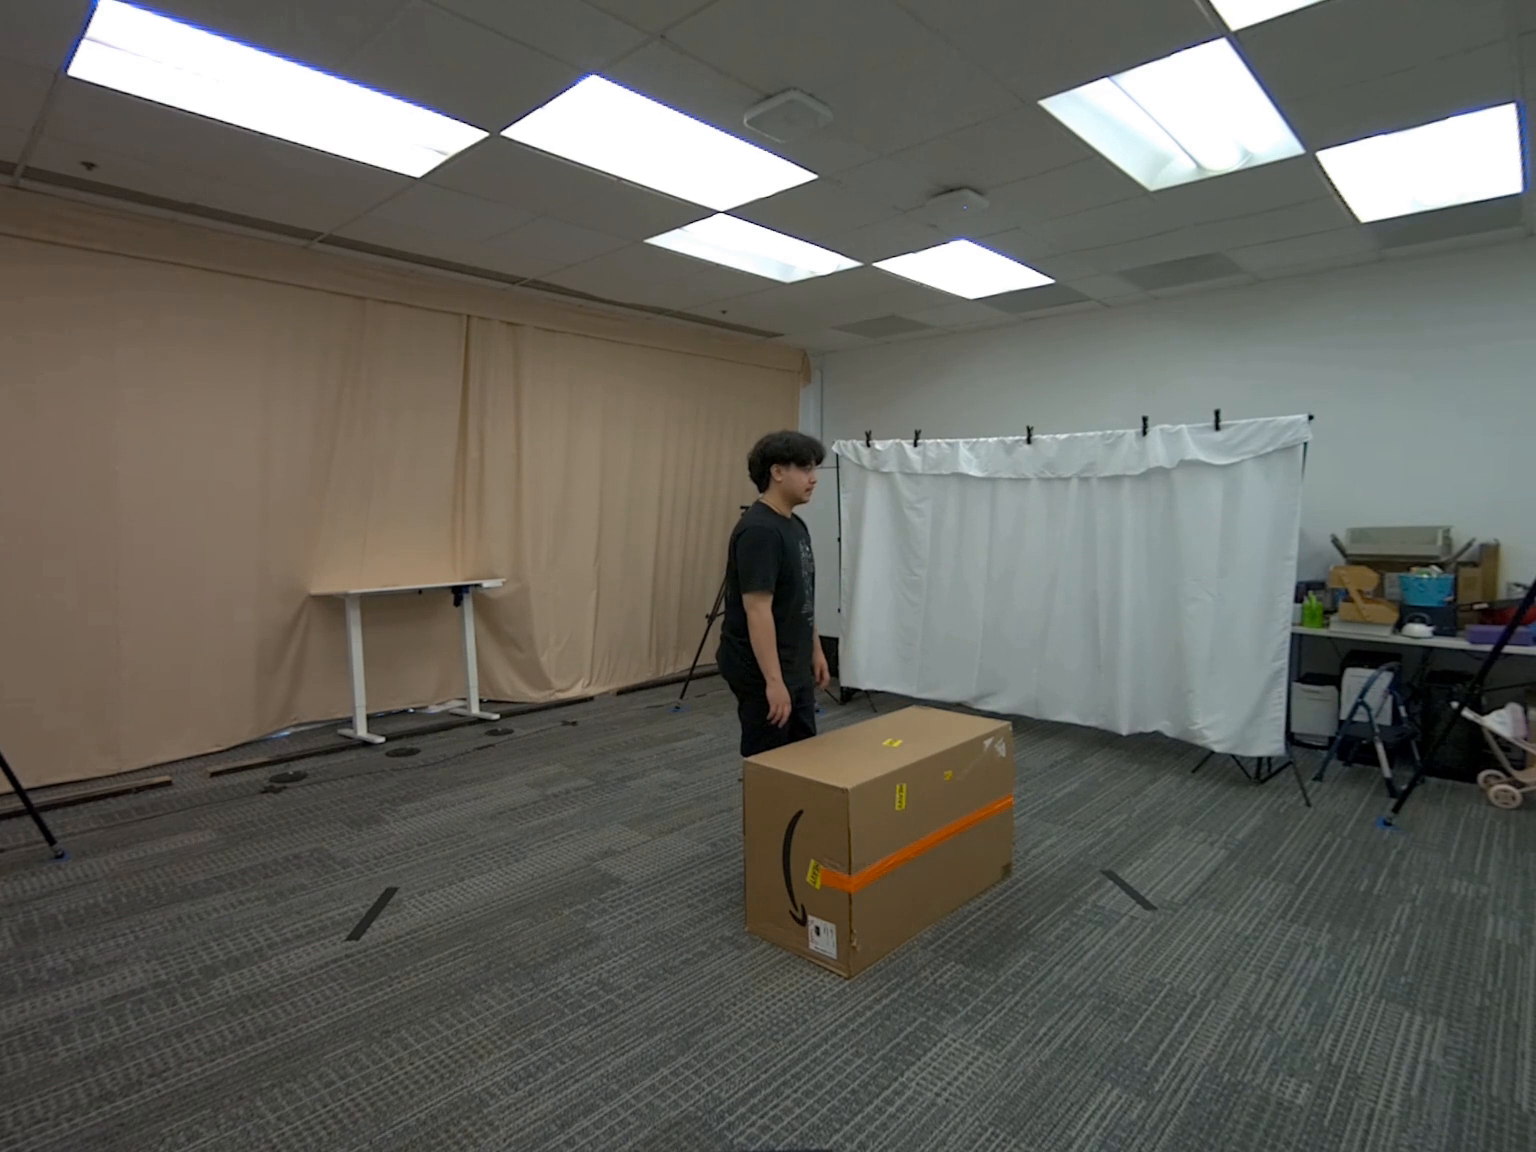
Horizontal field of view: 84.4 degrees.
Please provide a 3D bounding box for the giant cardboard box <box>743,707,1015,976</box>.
[{"bbox_3d":[0.429,0.860,2.952,0.462,0.582,0.996,5,7,43],"label":"giant cardboard box"}]
